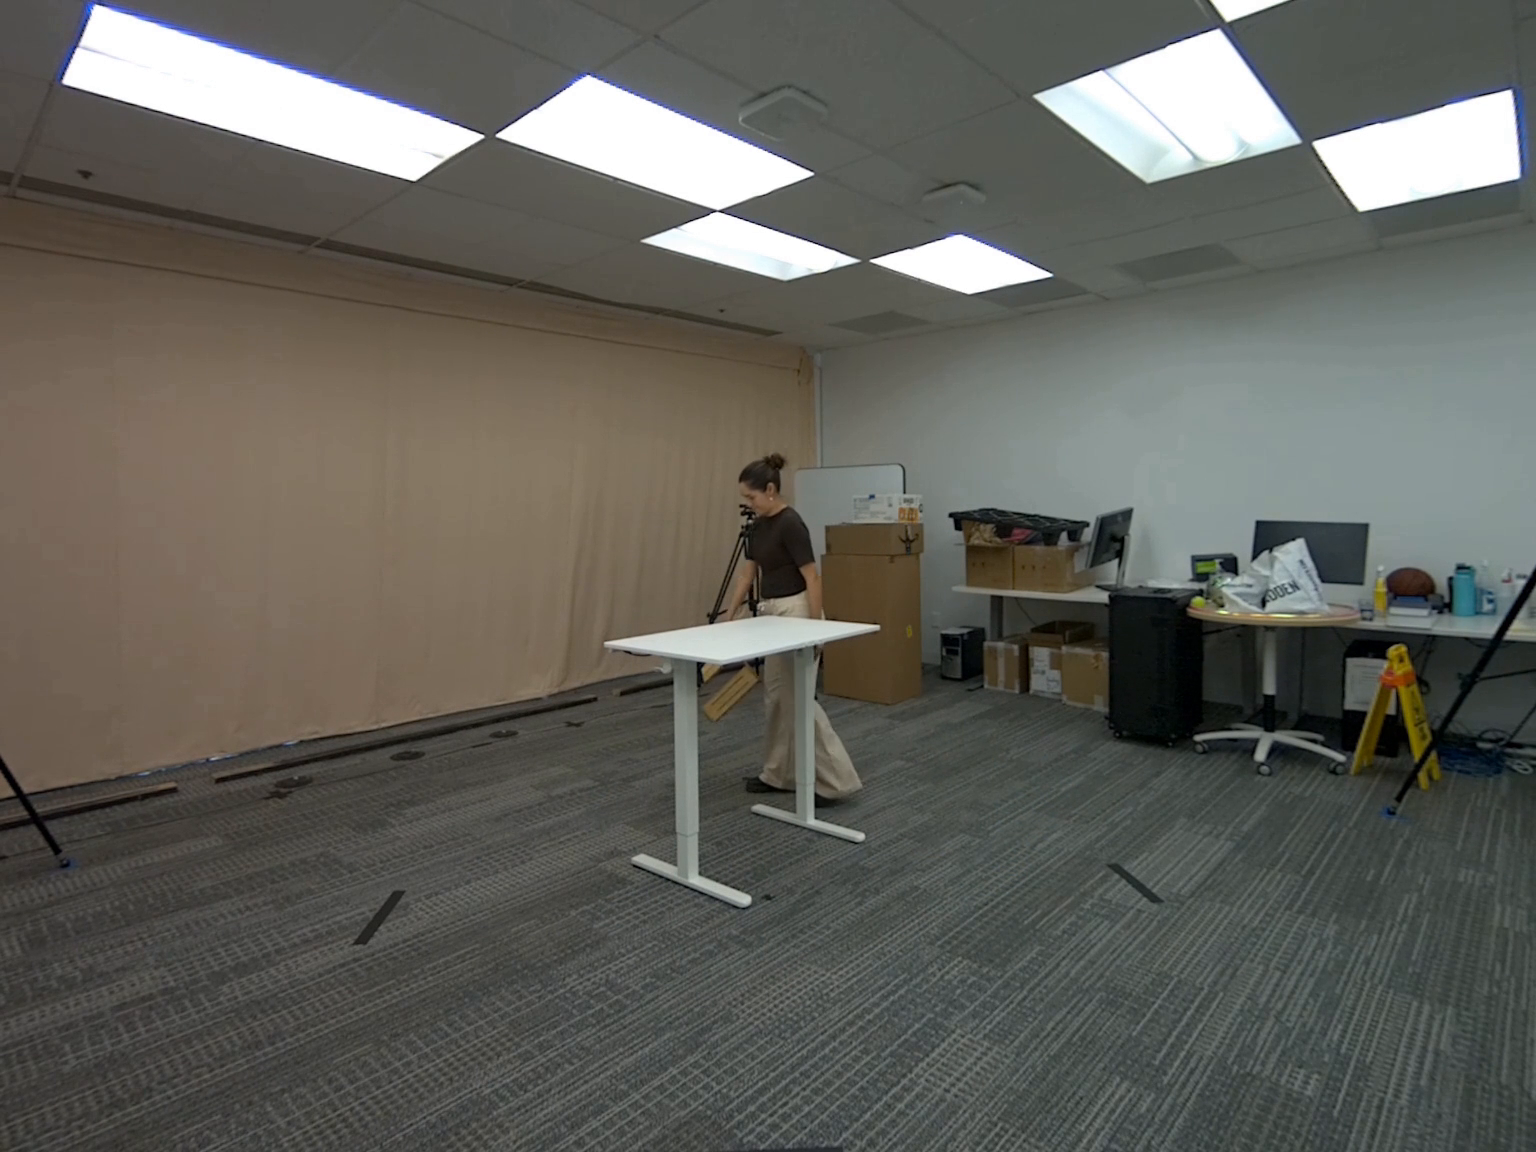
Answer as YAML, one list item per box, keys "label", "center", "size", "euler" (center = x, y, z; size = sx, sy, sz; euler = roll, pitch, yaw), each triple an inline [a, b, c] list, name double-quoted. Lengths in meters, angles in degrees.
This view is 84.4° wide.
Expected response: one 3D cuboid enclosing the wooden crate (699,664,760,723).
- label: "wooden crate"
  center: [-0.244, 0.519, 4.151]
  size: [0.323, 0.276, 0.301]
  euler: [-42, -6, -10]
